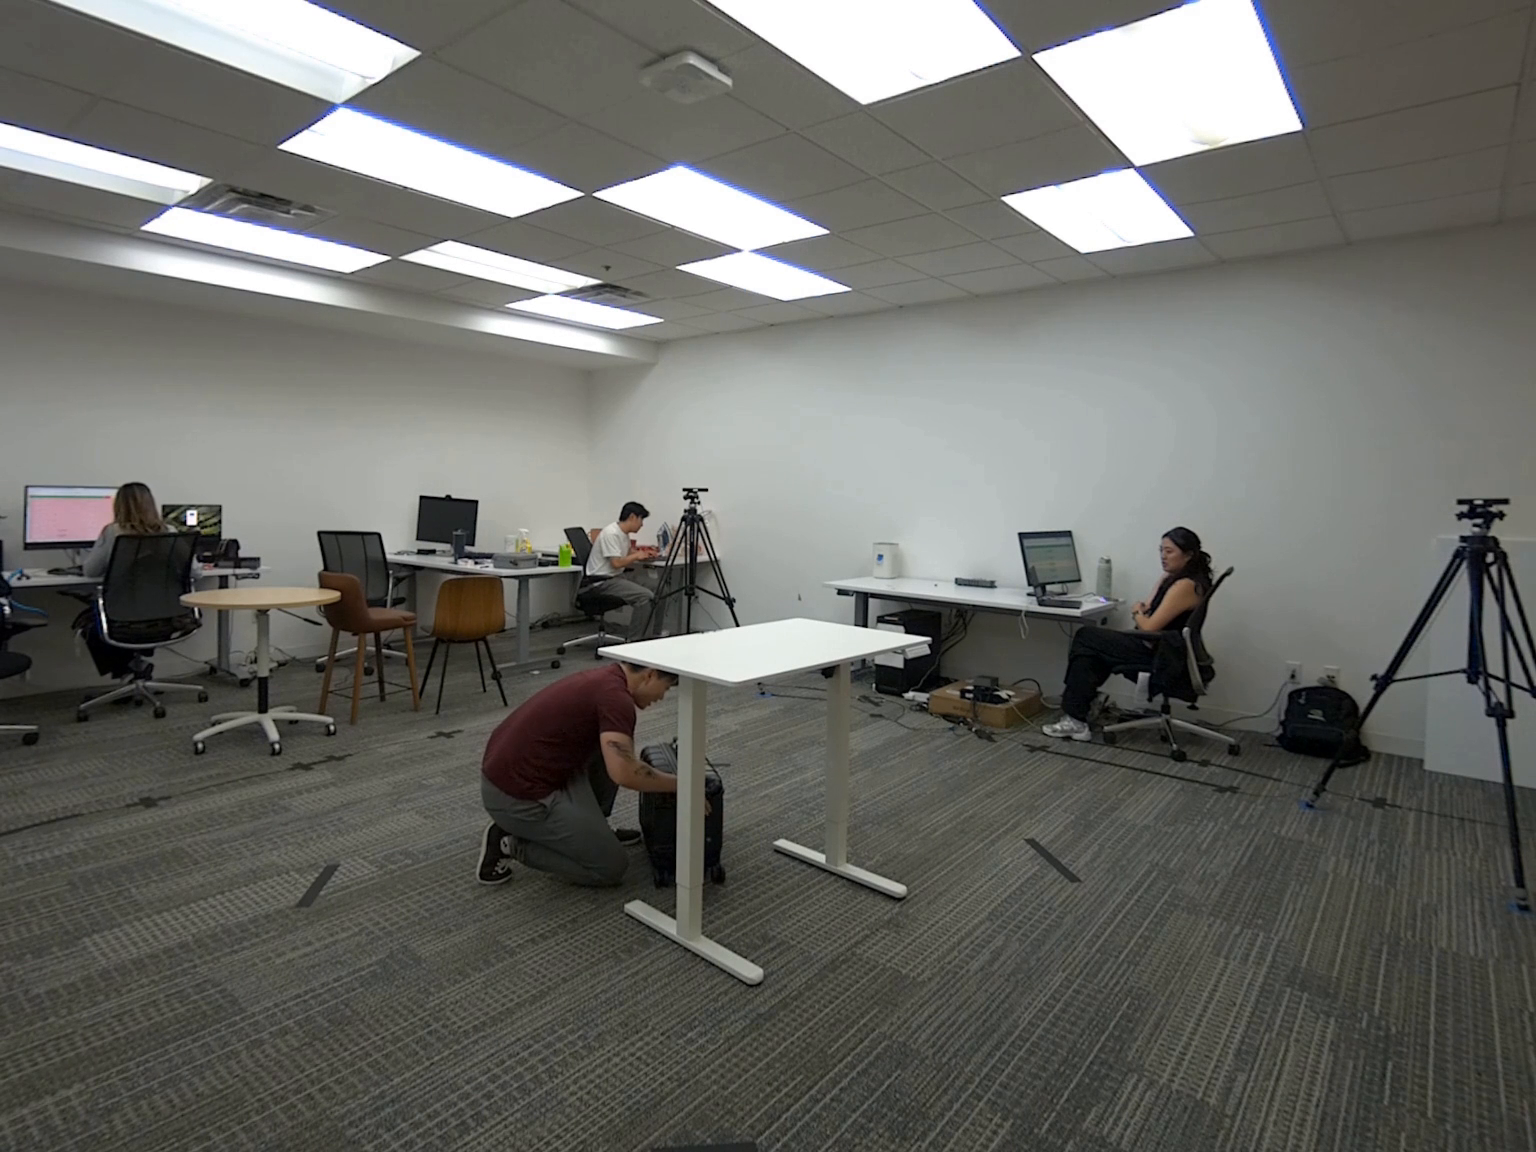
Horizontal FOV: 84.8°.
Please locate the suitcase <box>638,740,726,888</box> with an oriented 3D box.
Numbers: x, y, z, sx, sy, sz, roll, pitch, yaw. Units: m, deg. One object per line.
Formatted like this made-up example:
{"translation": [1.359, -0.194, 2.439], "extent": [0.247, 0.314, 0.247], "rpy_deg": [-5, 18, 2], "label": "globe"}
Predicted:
{"translation": [-0.413, 0.851, 3.427], "extent": [0.253, 0.383, 0.997], "rpy_deg": [0, 4, -17], "label": "suitcase"}
